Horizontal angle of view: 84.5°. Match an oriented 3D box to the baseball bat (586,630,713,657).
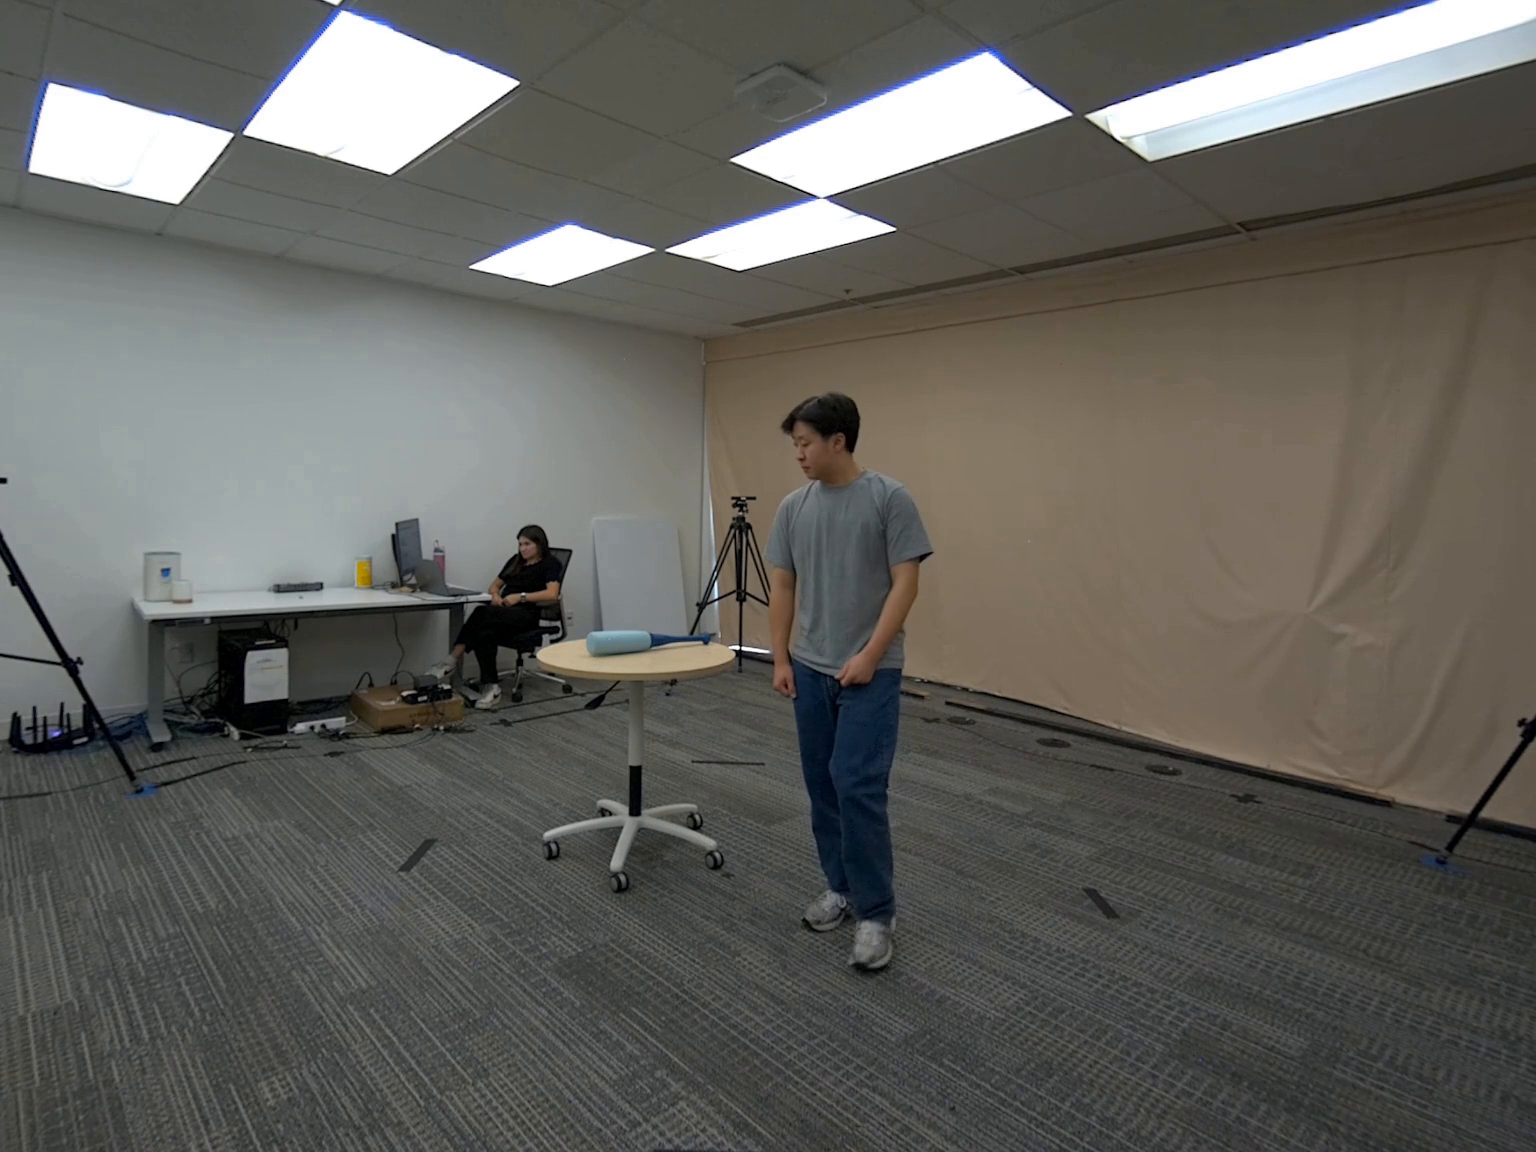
[{"bbox_3d":[-0.464,0.258,3.327,0.530,0.089,0.091,0,4,-36],"label":"baseball bat"}]
